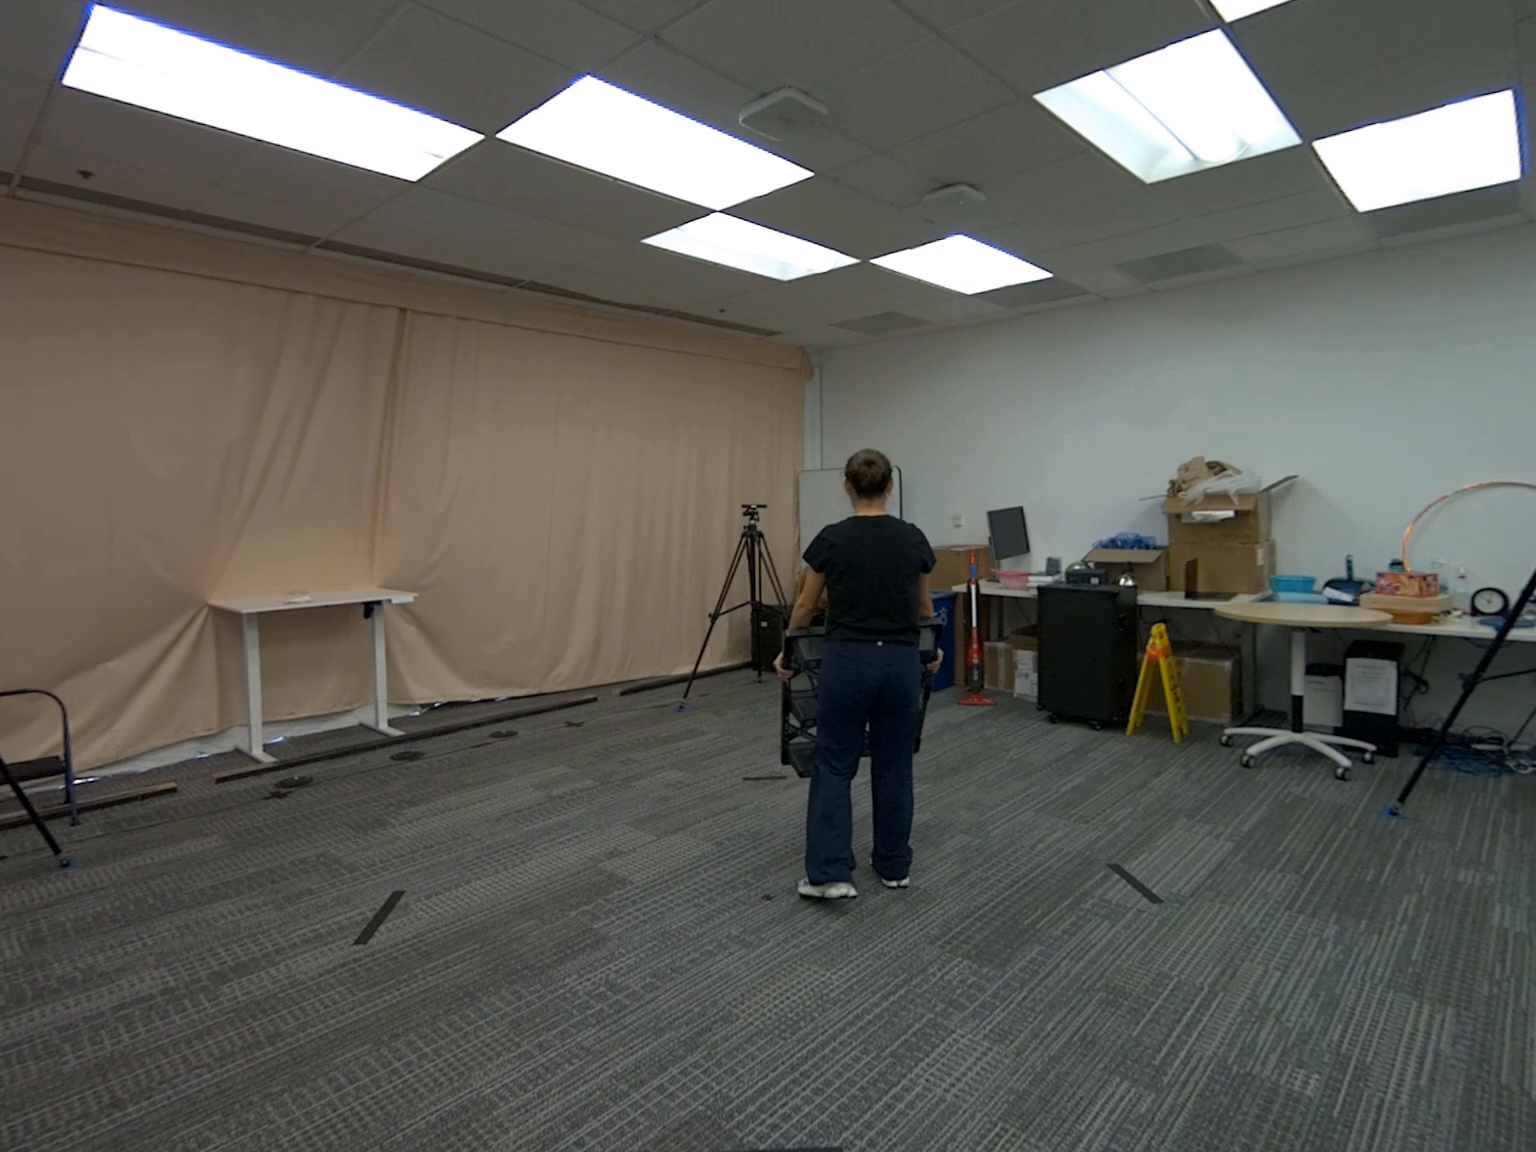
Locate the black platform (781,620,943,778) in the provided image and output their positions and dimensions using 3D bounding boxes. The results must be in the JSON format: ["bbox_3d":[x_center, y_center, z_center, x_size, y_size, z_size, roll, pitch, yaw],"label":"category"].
[{"bbox_3d":[0.362,0.514,3.337,0.603,0.790,0.146,-4,39,-3],"label":"black platform"}]
